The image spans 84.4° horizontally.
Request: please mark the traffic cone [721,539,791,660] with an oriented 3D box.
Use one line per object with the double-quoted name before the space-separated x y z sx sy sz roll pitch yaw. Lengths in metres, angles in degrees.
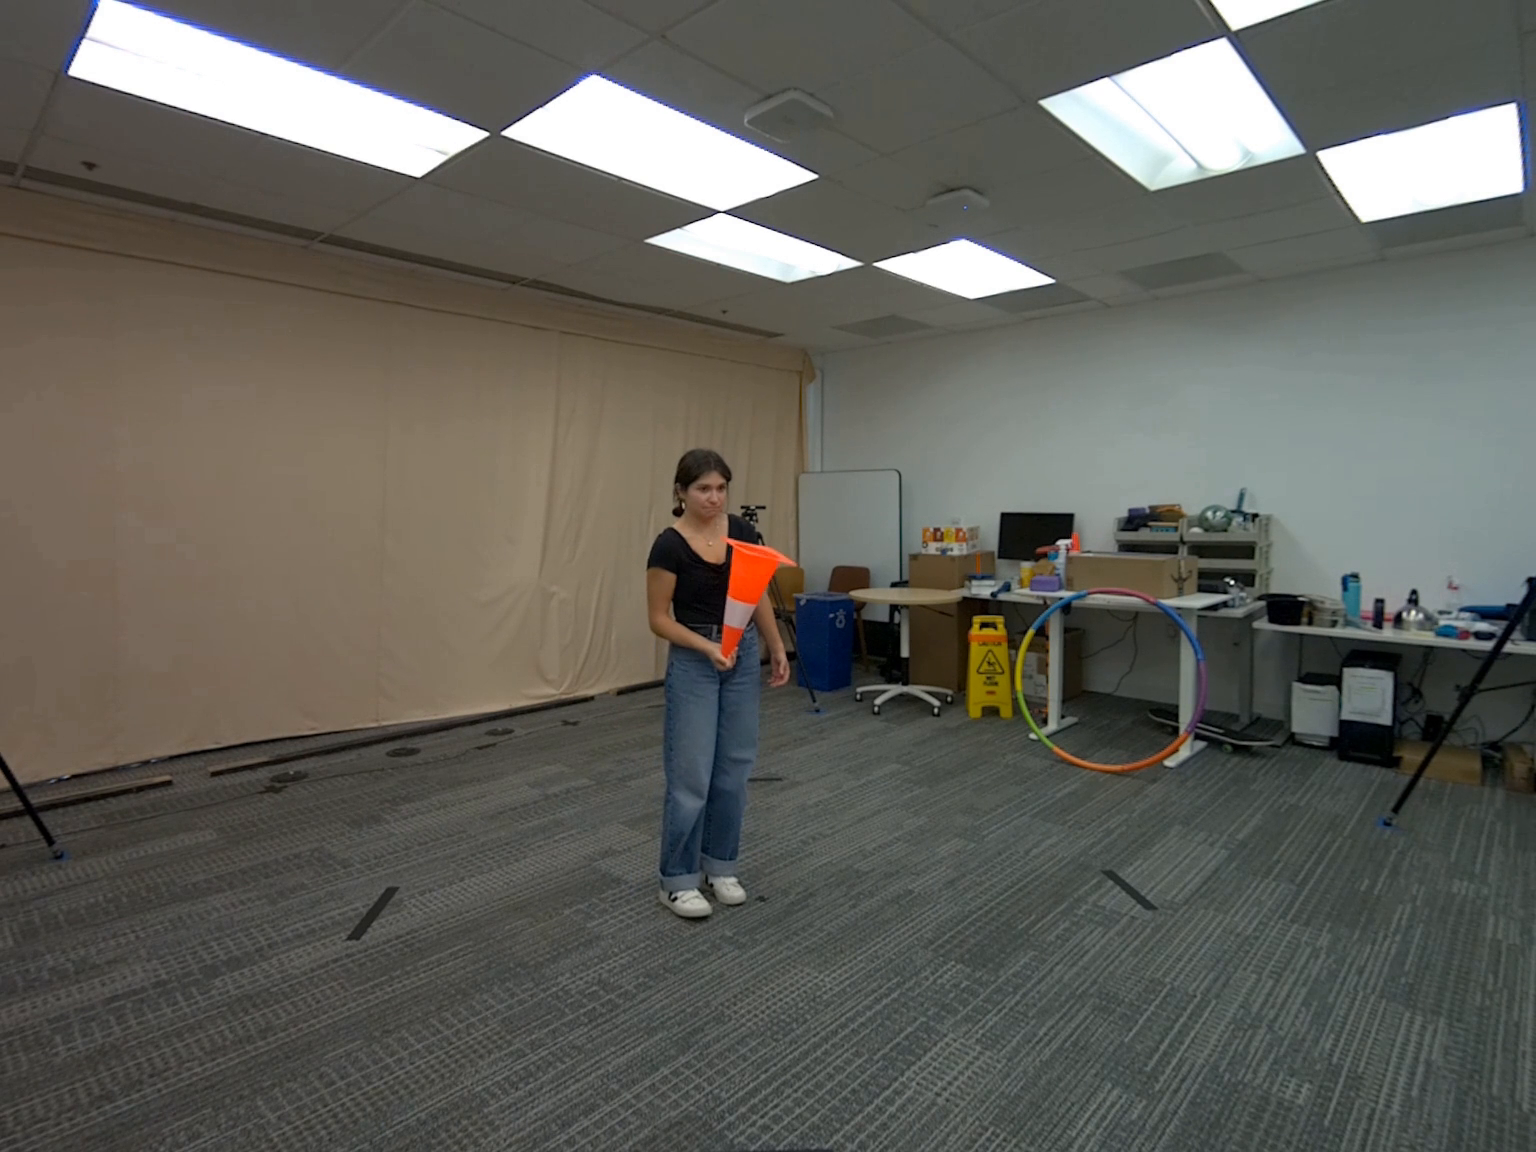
"traffic cone" -0.091 0.090 2.731 0.197 0.383 0.211 14 8 -29
